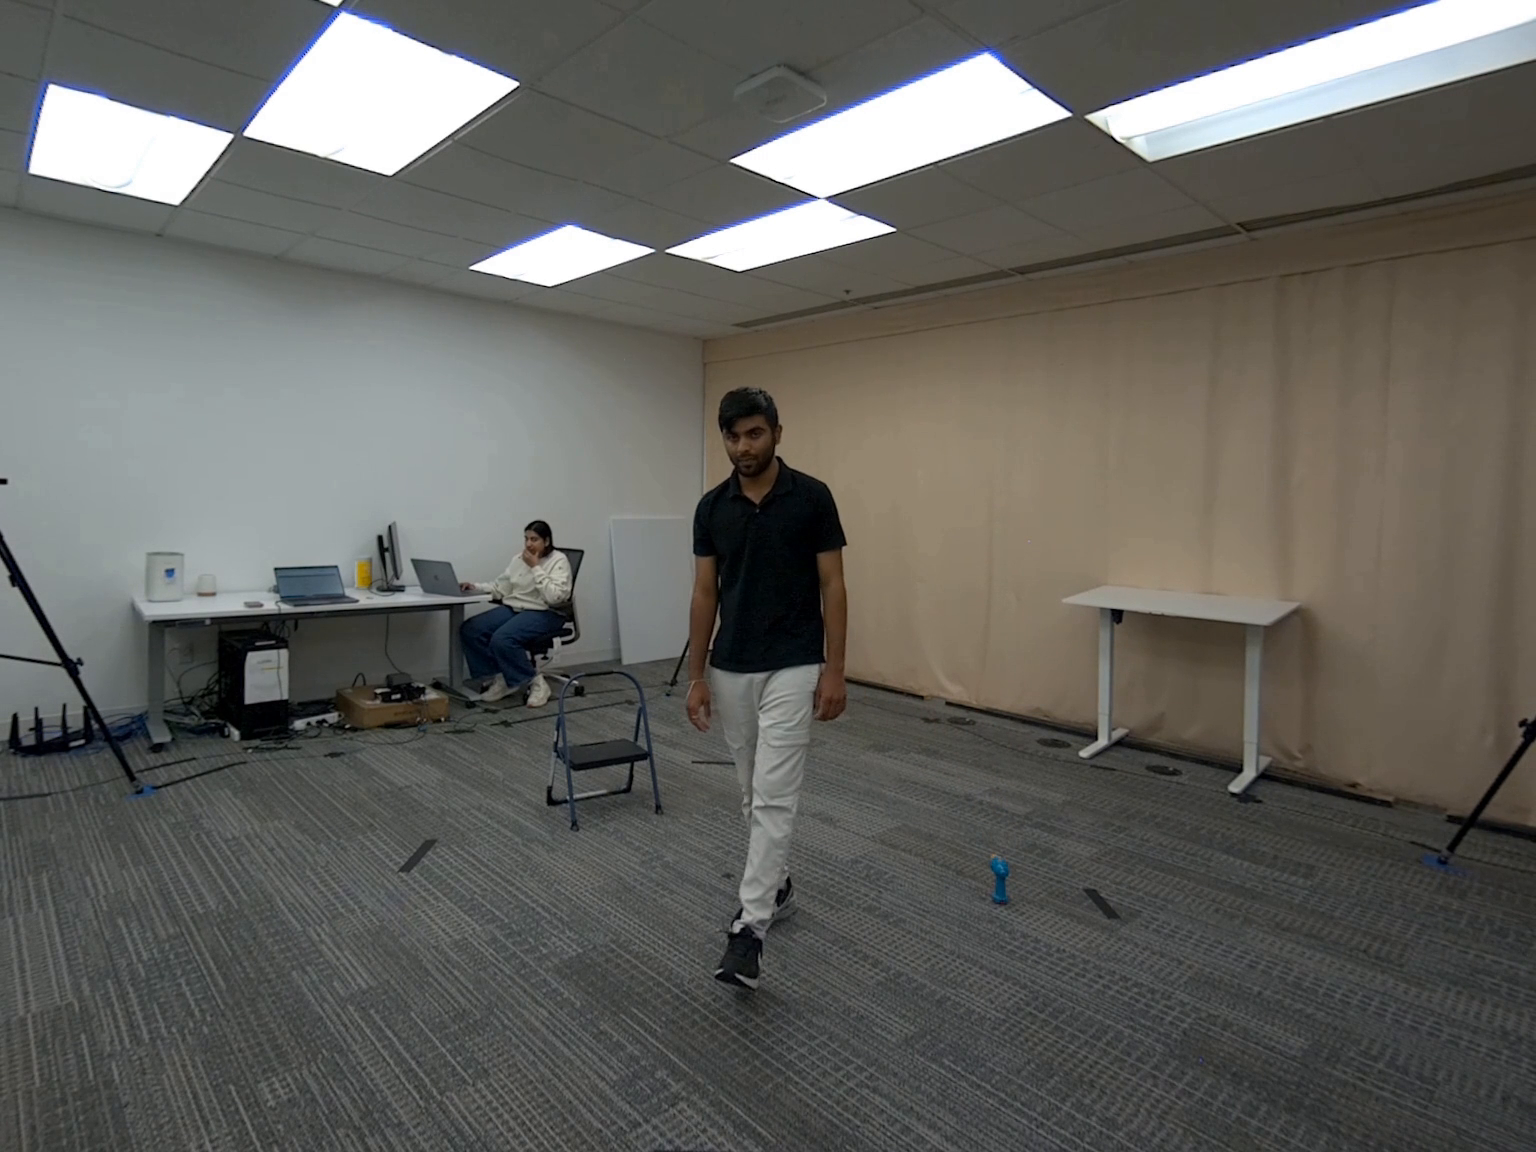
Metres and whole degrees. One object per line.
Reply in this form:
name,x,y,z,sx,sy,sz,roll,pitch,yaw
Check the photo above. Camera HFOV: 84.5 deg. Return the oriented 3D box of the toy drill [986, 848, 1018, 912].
toy drill,0.826,1.073,2.998,0.061,0.146,0.169,6,4,5
